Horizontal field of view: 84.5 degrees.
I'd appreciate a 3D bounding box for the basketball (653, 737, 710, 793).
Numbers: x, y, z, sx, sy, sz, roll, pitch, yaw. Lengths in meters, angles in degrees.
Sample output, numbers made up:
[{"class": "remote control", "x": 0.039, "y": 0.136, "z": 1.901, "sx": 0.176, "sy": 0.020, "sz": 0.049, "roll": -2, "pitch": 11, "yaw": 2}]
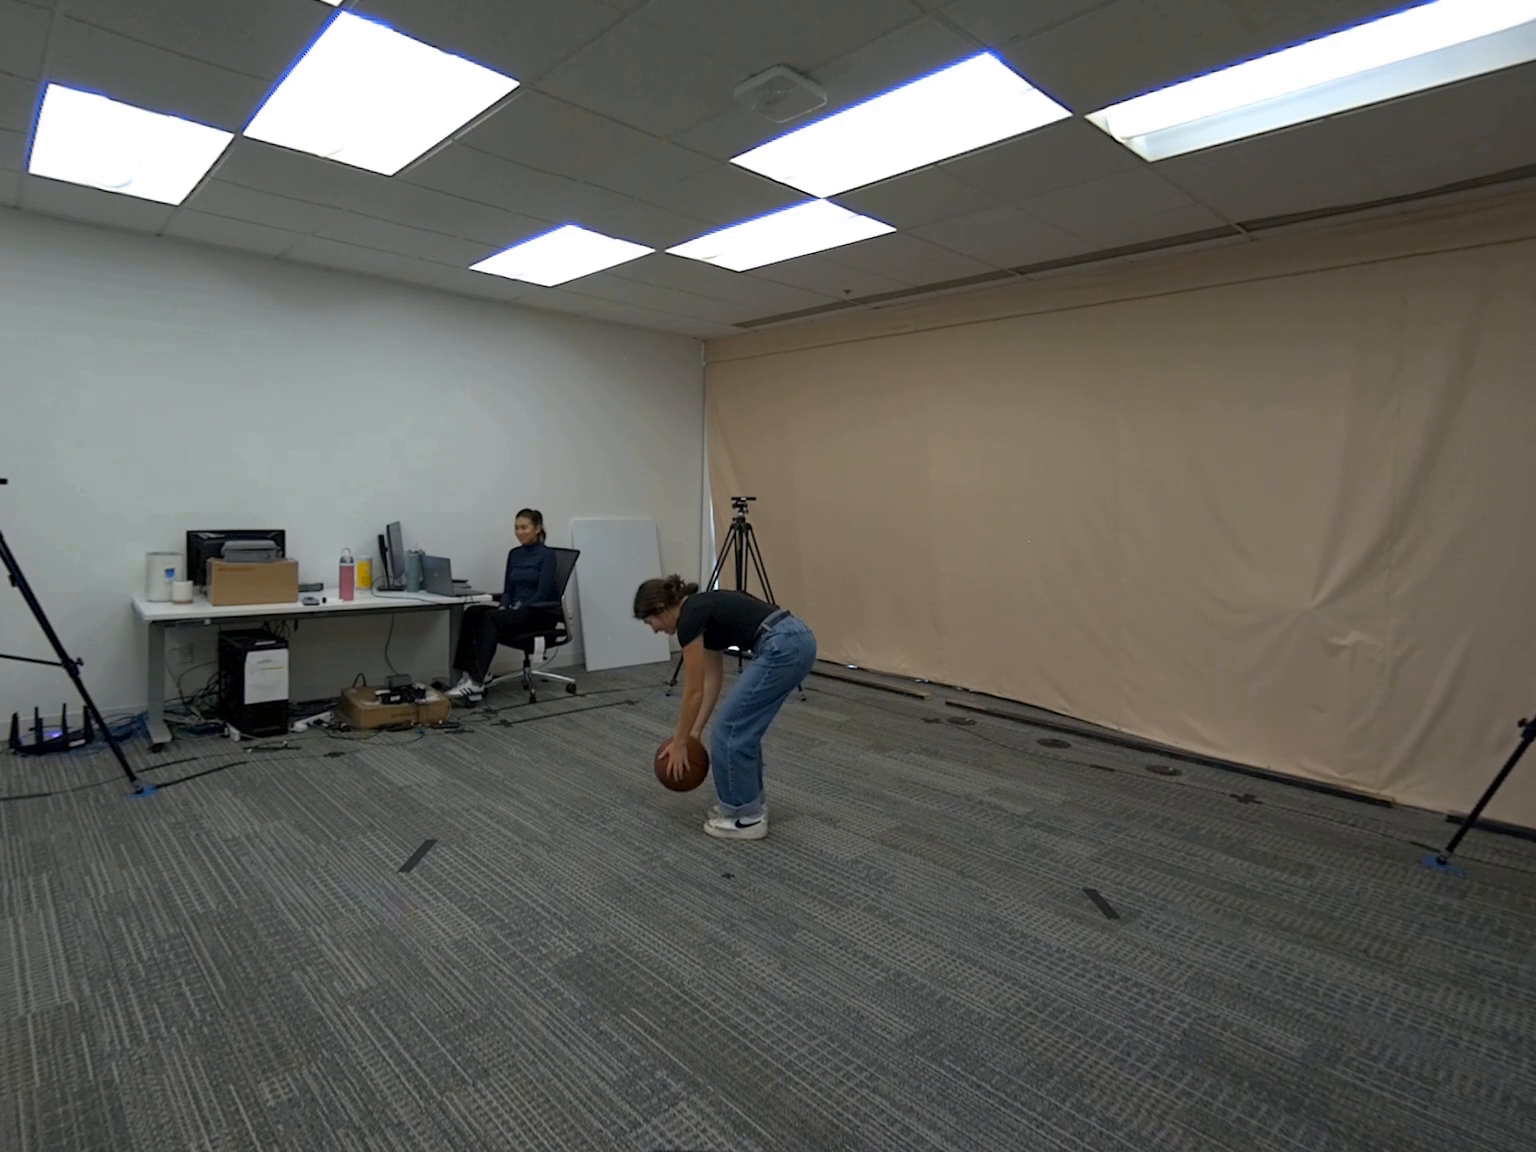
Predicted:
[{"class": "basketball", "x": -0.383, "y": 0.793, "z": 3.624, "sx": 0.236, "sy": 0.235, "sz": 0.237, "roll": 1, "pitch": 4, "yaw": -1}]
